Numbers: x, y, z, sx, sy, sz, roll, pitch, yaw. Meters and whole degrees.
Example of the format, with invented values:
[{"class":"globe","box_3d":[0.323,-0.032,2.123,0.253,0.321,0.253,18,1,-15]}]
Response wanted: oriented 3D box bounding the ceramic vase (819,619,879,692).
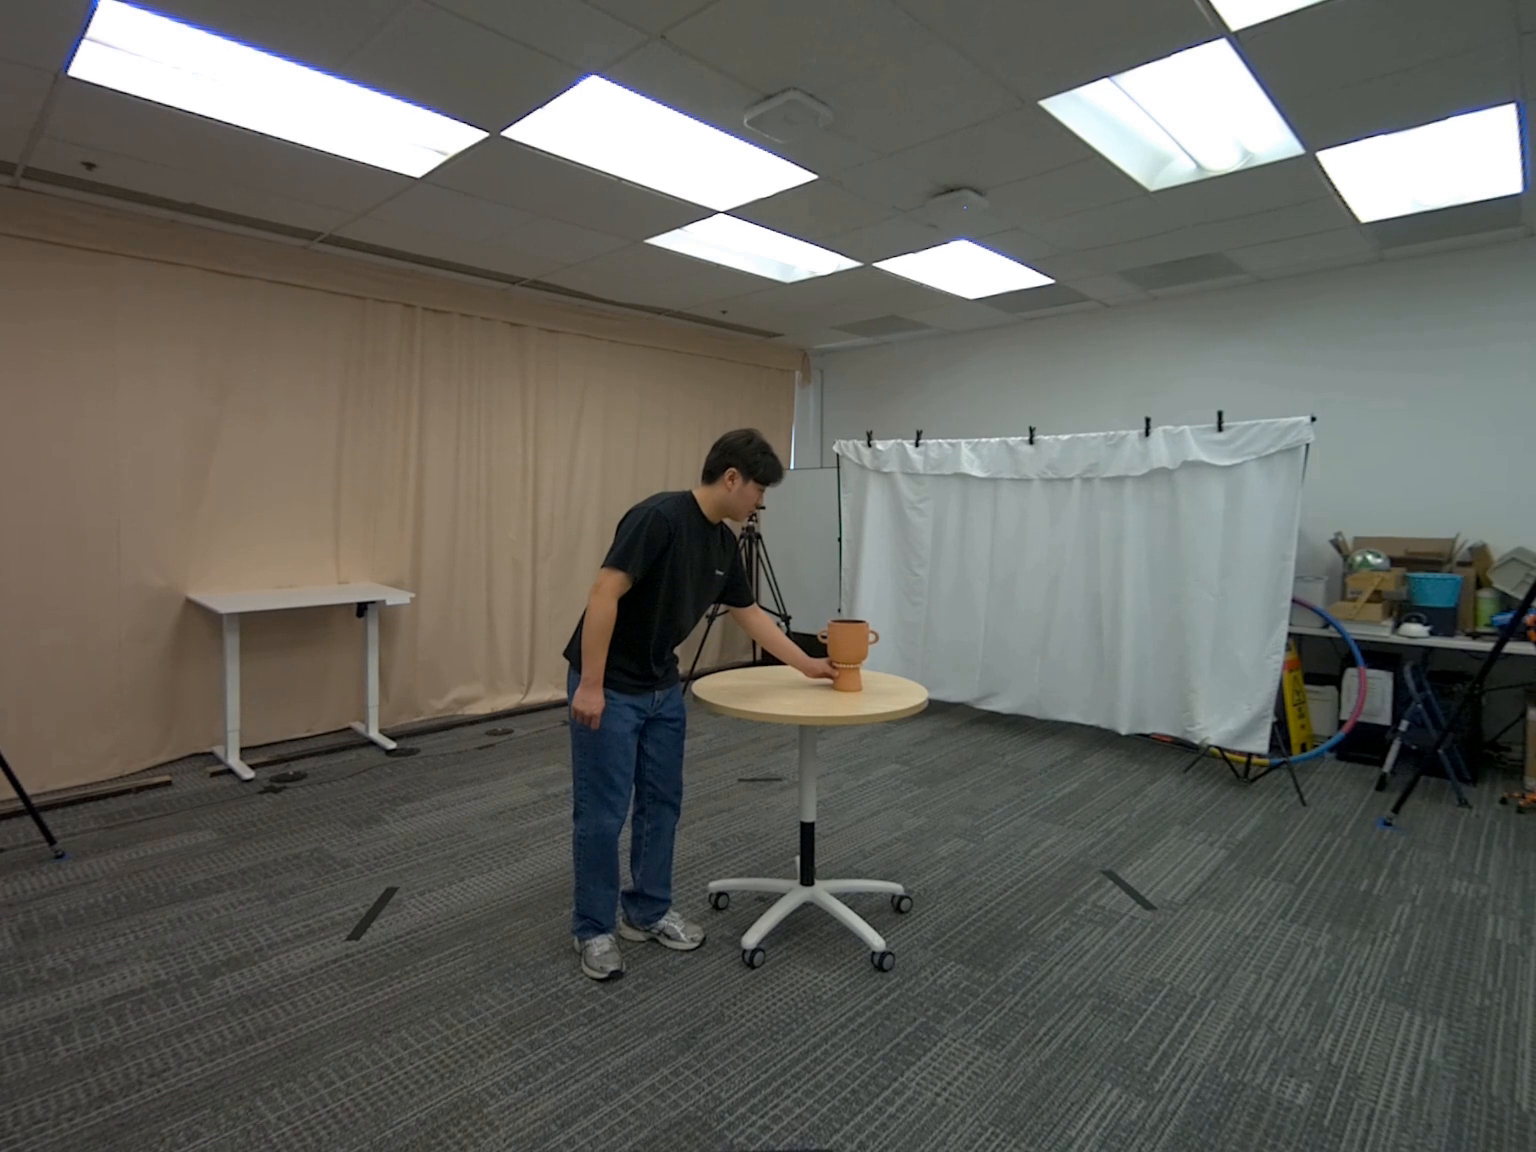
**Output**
[{"class":"ceramic vase","box_3d":[0.266,0.259,2.723,0.164,0.219,0.130,3,2,40]}]
